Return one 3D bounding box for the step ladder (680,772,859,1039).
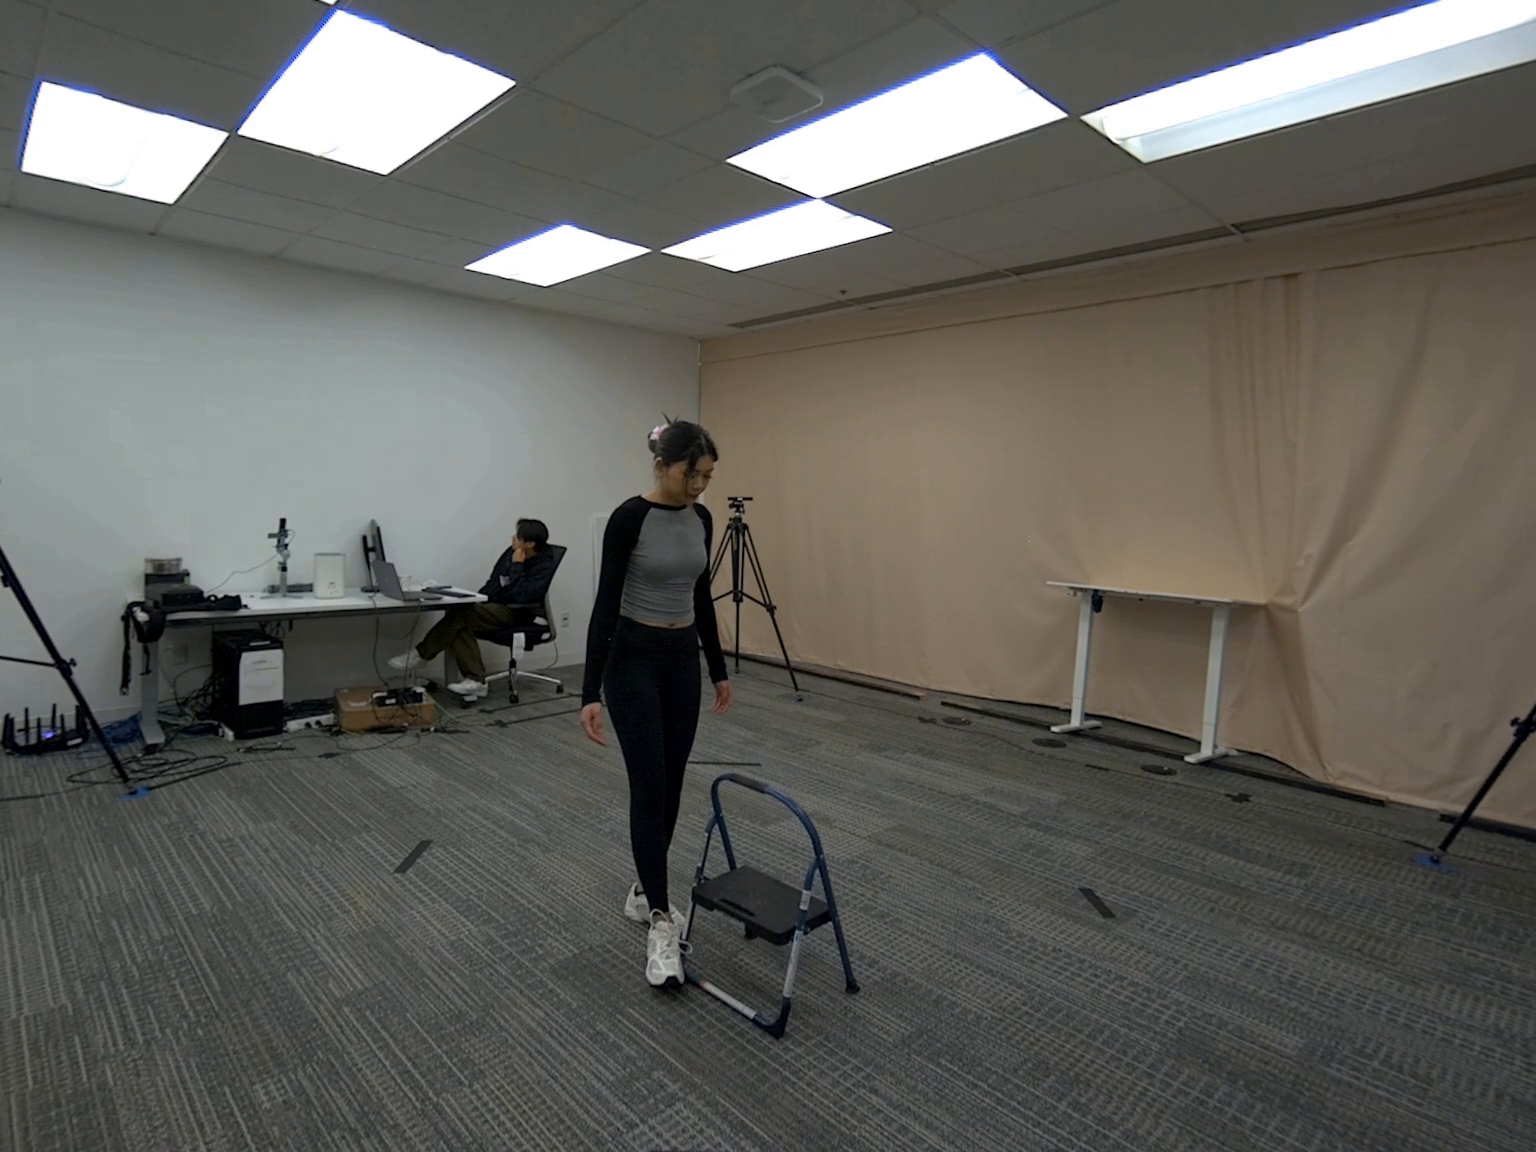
[{"bbox_3d":[-0.007,0.873,2.411,0.441,0.604,0.341,5,5,43],"label":"step ladder"}]
